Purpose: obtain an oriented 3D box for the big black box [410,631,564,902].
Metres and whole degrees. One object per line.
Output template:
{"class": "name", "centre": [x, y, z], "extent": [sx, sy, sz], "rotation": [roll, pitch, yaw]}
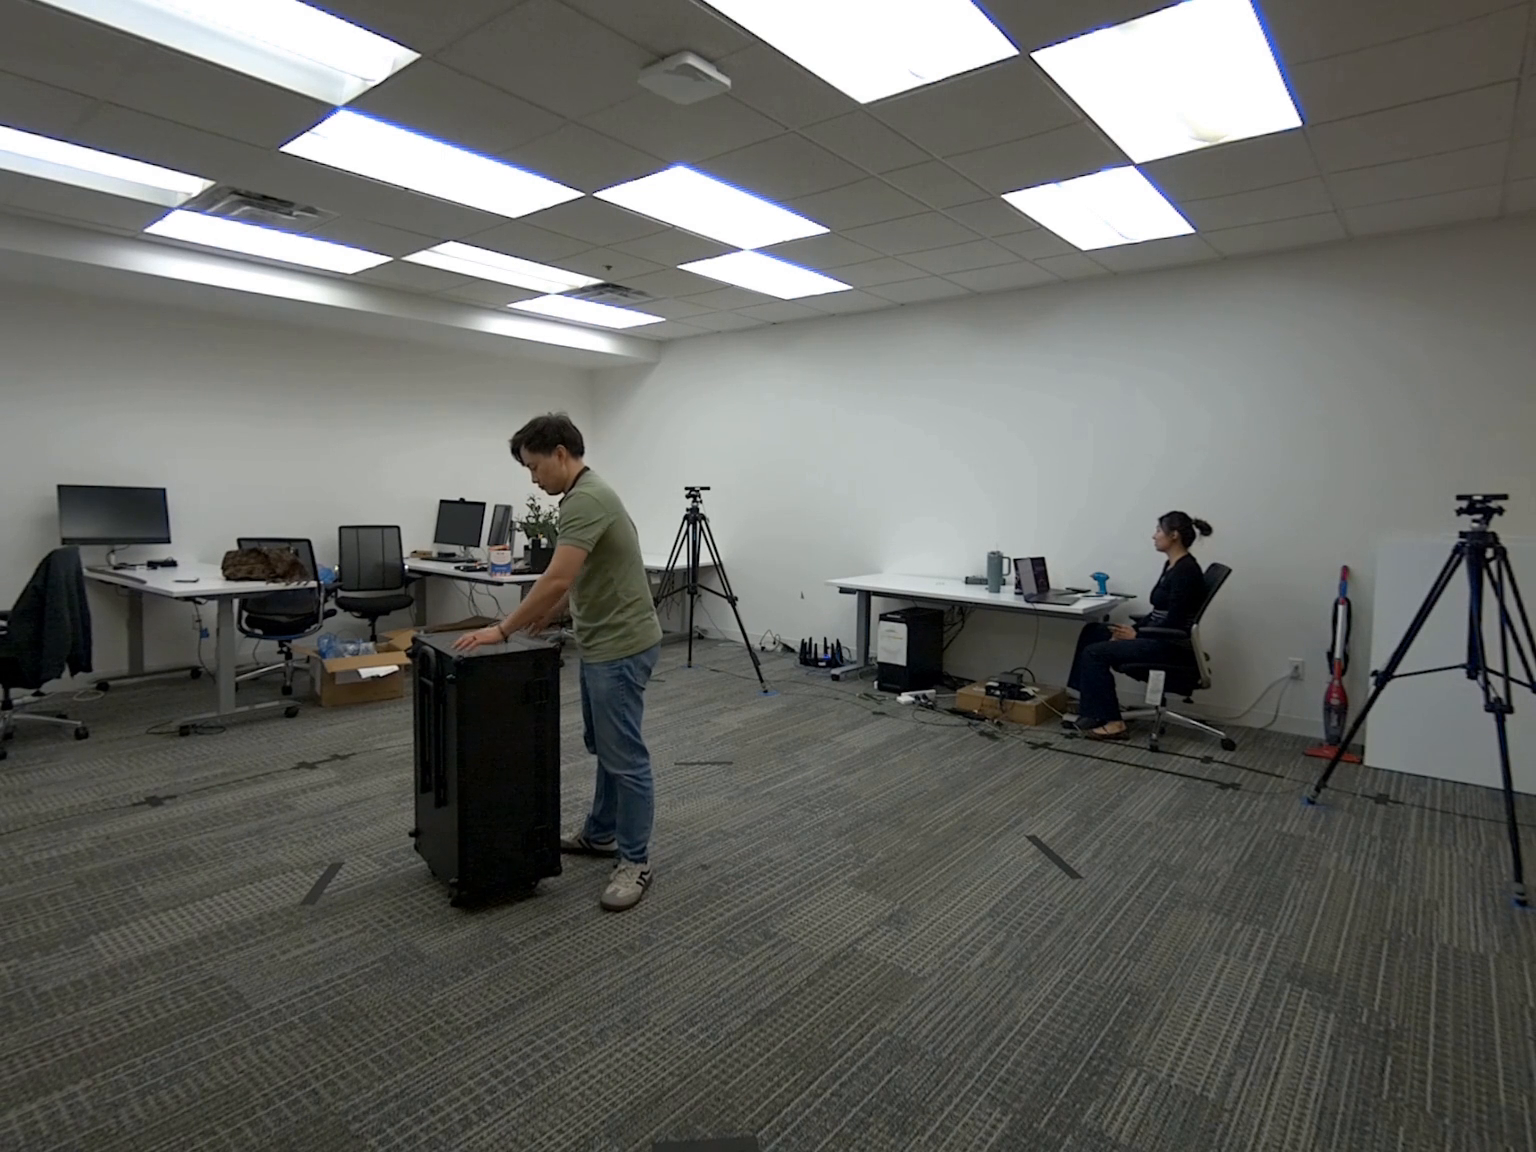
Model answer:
{"class": "big black box", "centre": [-1.004, 0.646, 2.945], "extent": [0.385, 0.859, 0.538], "rotation": [-3, 5, -37]}
